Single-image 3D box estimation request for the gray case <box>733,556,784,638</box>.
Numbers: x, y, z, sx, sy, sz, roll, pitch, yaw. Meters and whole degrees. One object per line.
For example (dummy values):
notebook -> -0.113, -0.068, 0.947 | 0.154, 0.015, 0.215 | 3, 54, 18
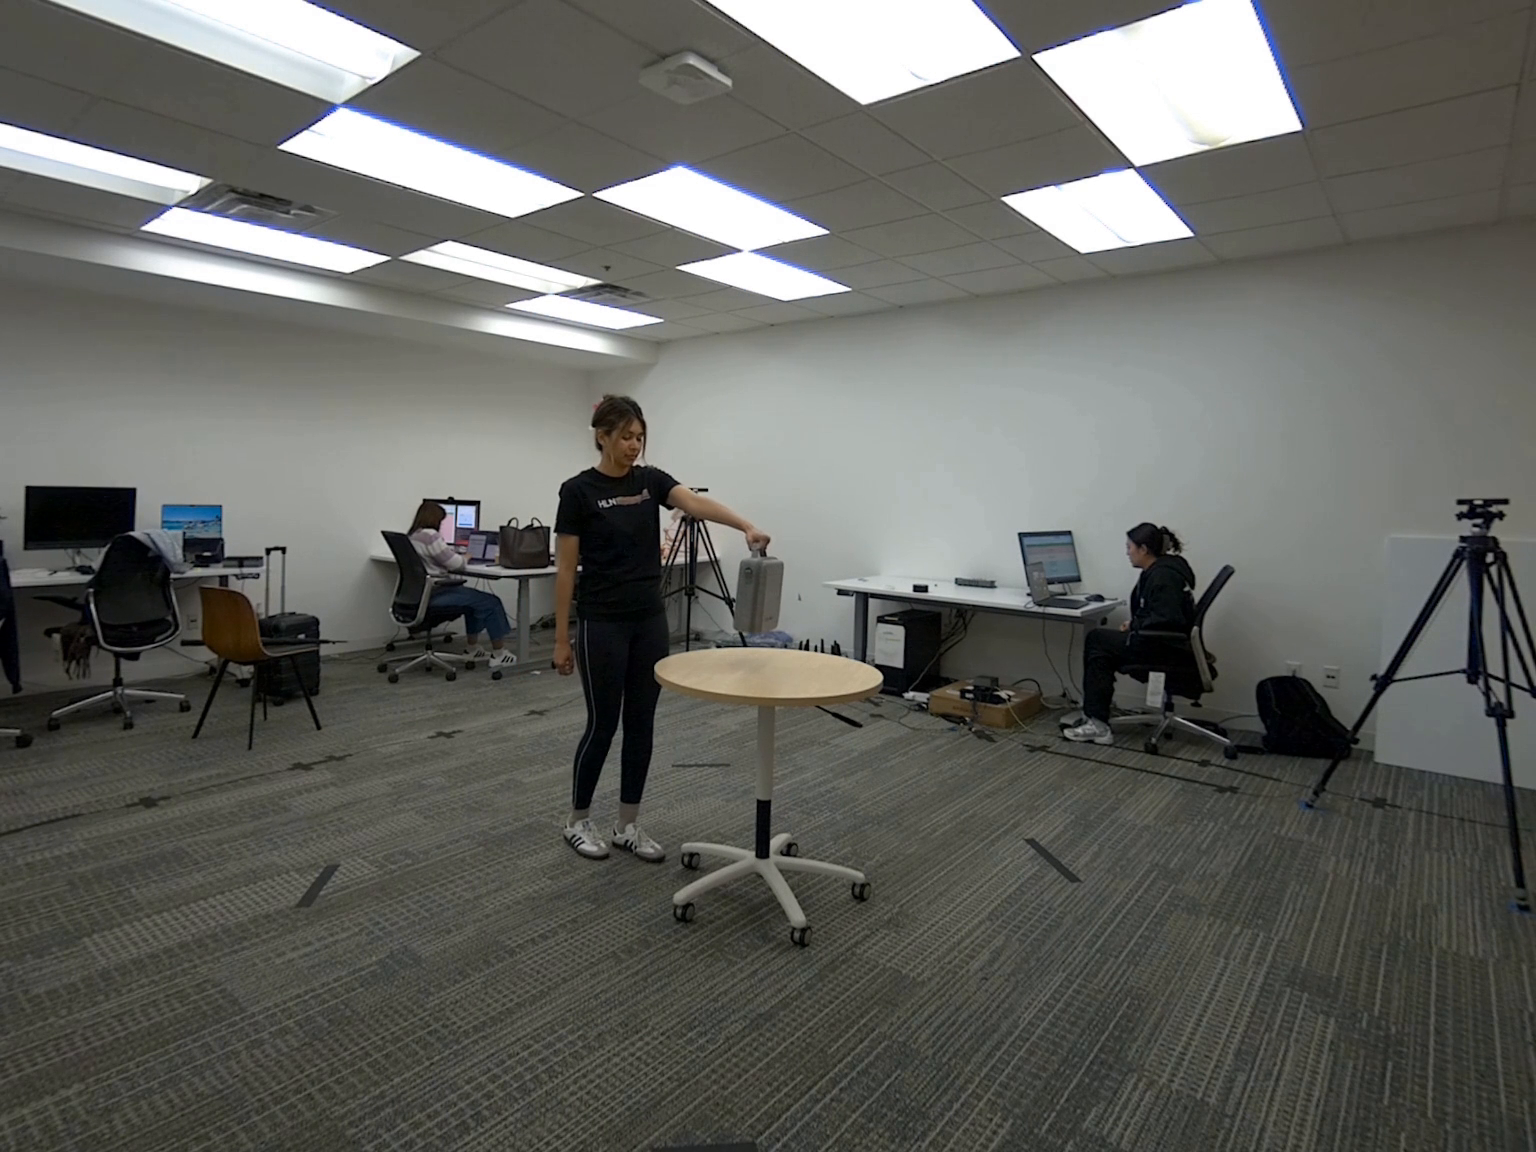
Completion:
gray case -> -0.041, 0.058, 2.909 | 0.106, 0.260, 0.252 | 4, 1, 14
